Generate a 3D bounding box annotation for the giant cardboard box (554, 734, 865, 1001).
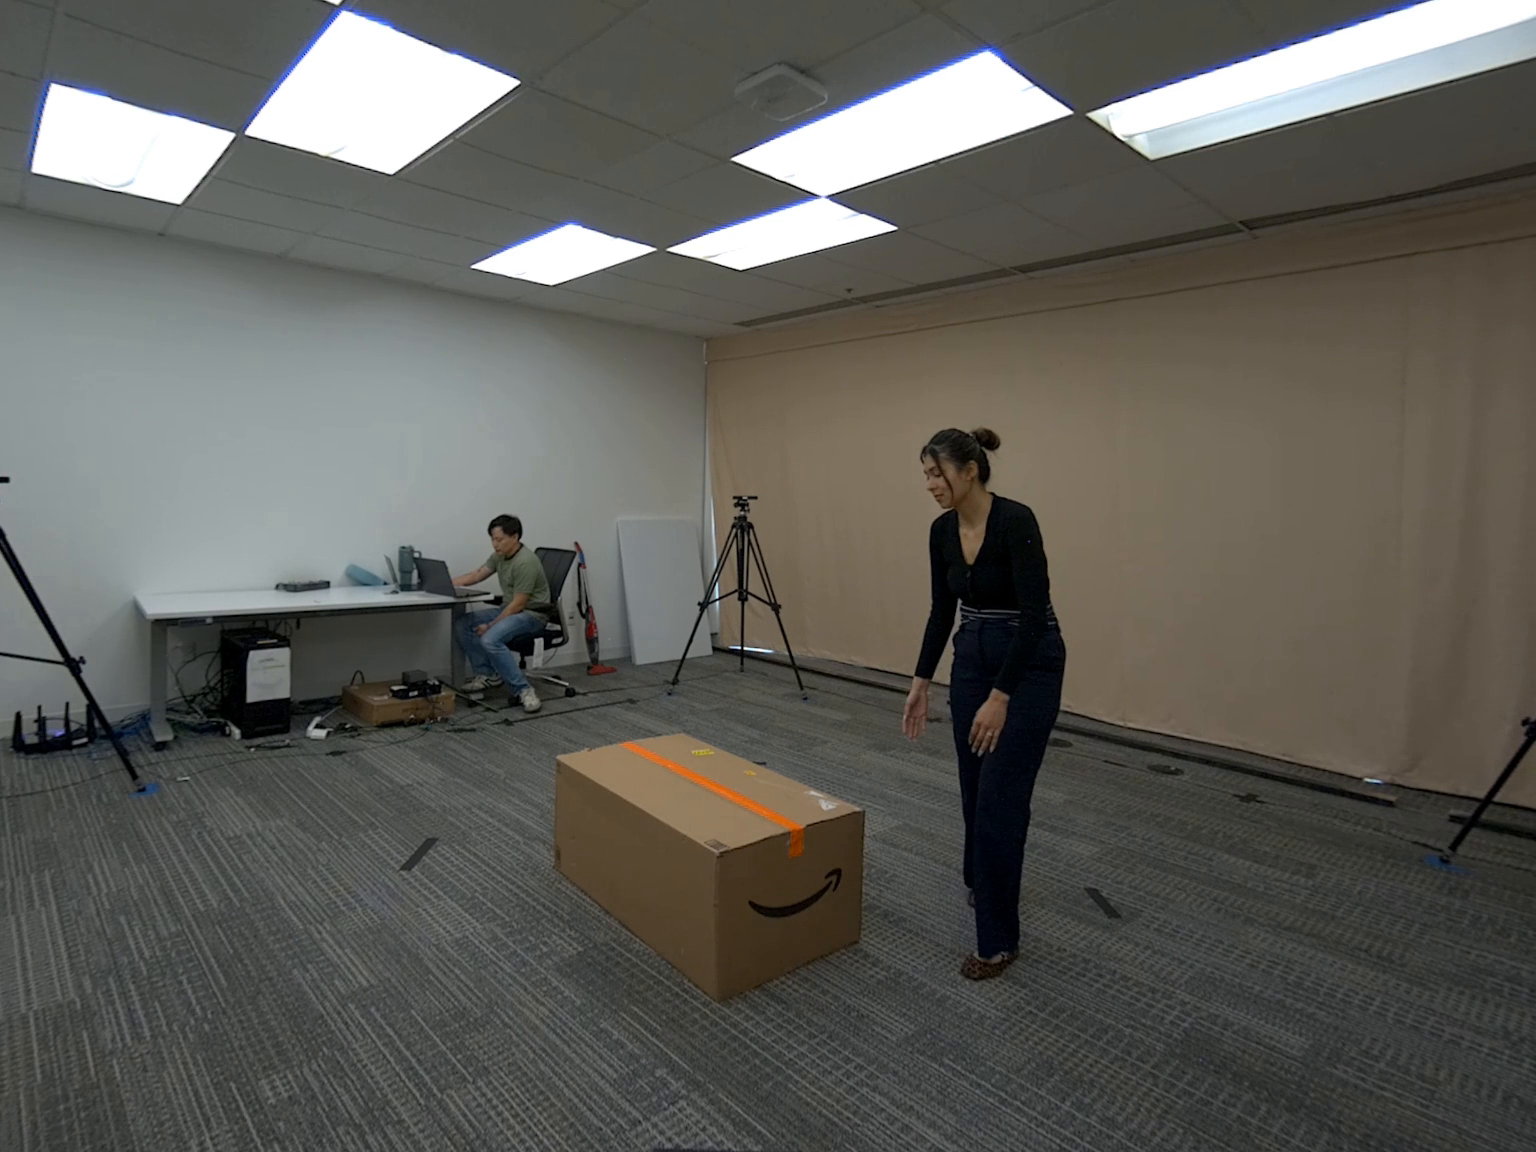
[{"bbox_3d":[-0.253,0.909,2.875,0.564,0.425,1.052,-1,6,-38],"label":"giant cardboard box"}]
